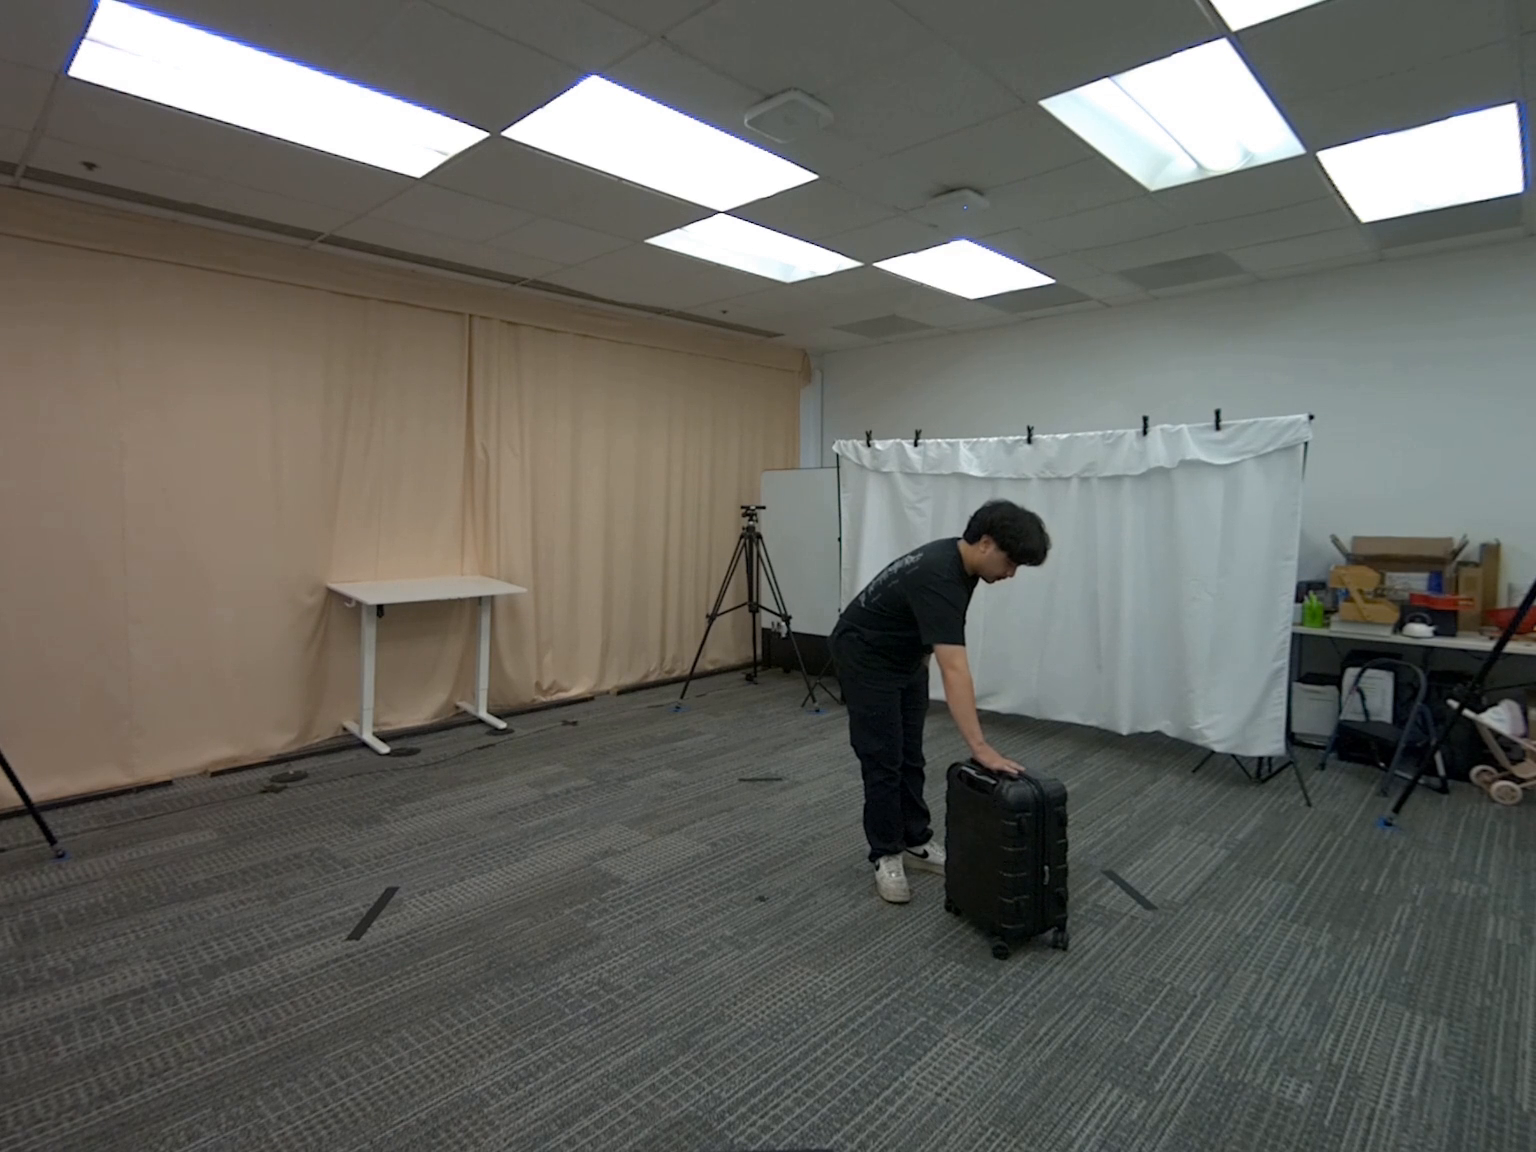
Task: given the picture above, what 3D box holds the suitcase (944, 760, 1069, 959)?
[{"bbox_3d":[0.786,0.885,2.744,0.243,0.548,0.384,-1,3,-22],"label":"suitcase"}]
